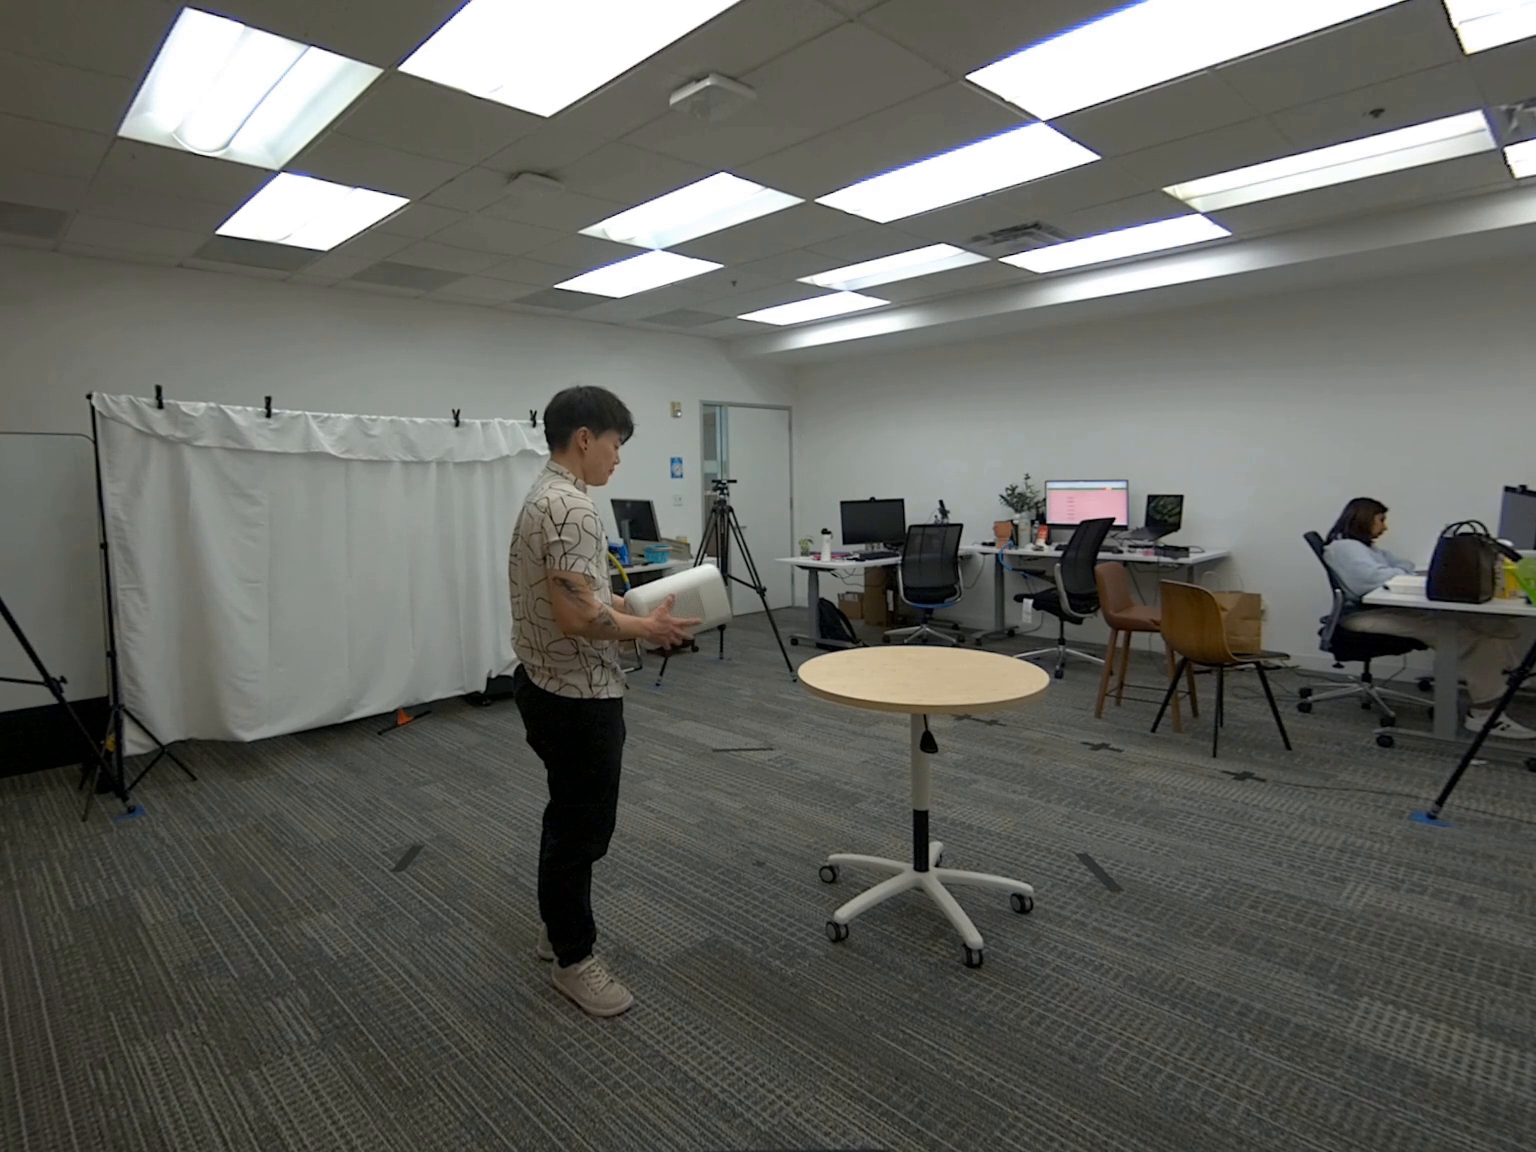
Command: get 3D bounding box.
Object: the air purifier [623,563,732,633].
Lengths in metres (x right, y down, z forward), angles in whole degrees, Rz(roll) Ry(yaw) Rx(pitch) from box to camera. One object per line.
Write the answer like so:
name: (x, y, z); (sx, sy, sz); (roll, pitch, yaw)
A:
air purifier: (-0.265, 0.083, 2.434); (0.263, 0.170, 0.174); (-19, 9, -14)
